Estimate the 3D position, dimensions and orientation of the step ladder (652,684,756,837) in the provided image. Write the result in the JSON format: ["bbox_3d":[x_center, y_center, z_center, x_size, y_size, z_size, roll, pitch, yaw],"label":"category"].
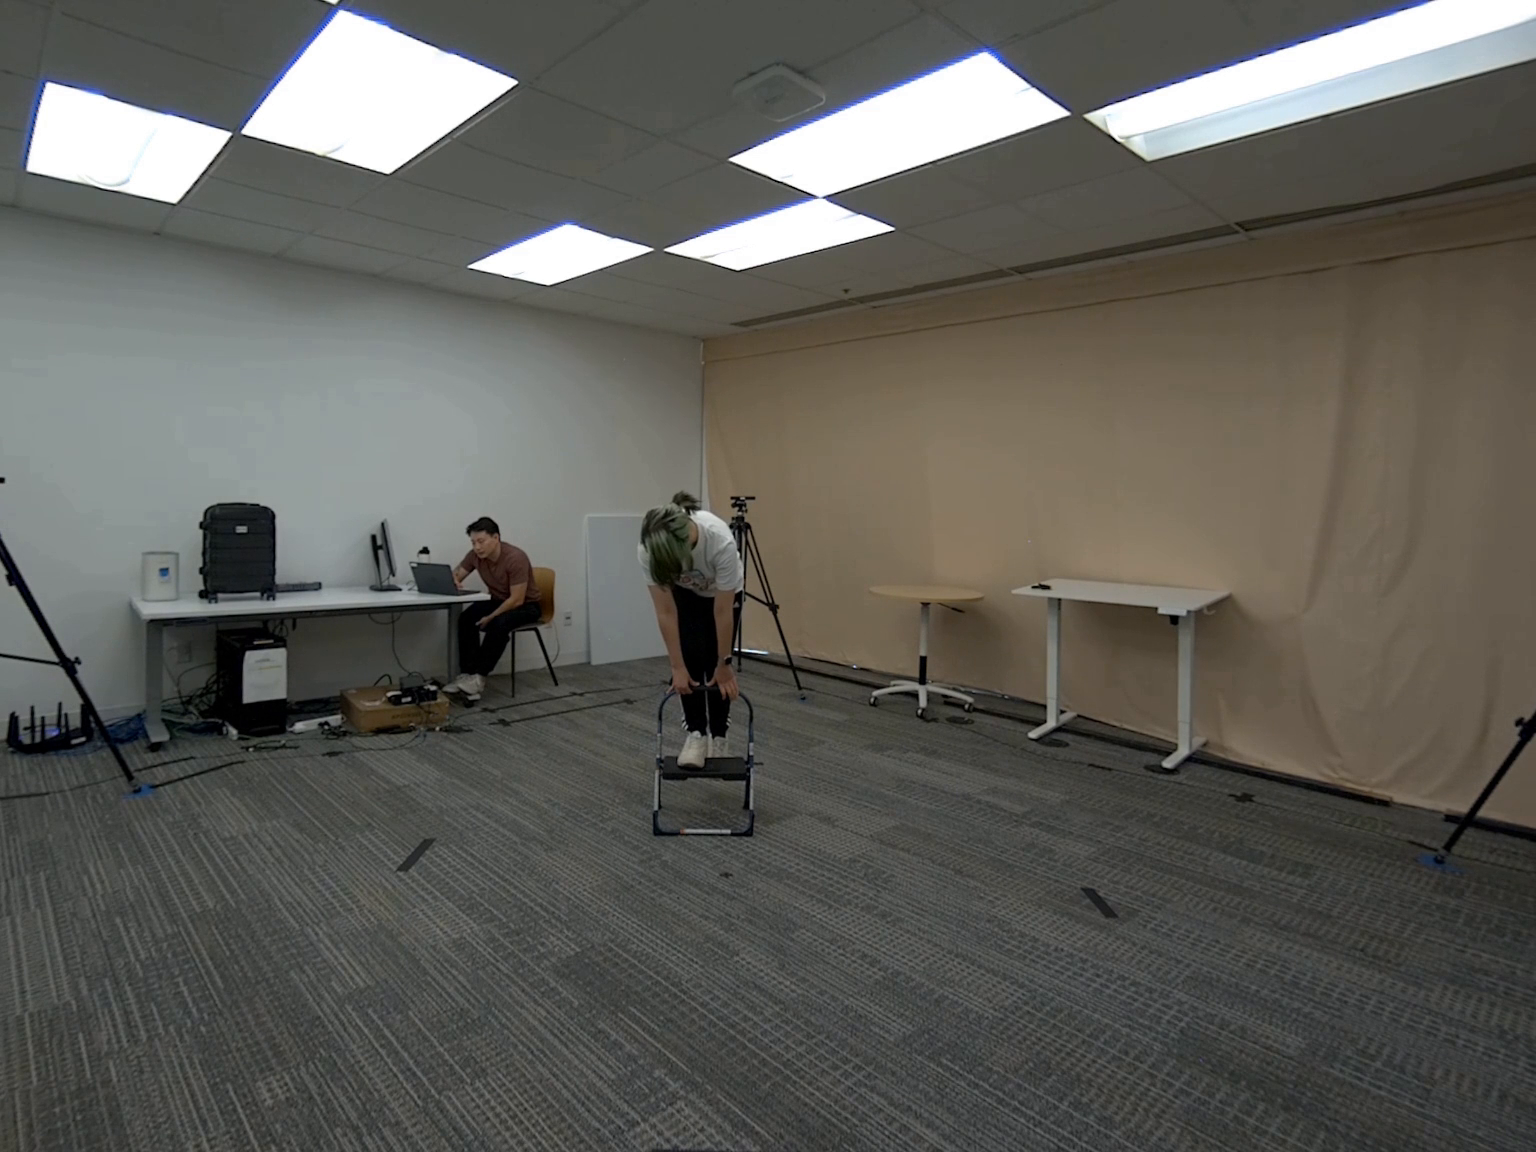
[{"bbox_3d":[-0.280,0.759,3.614,0.429,0.605,0.351,2,3,-4],"label":"step ladder"}]
